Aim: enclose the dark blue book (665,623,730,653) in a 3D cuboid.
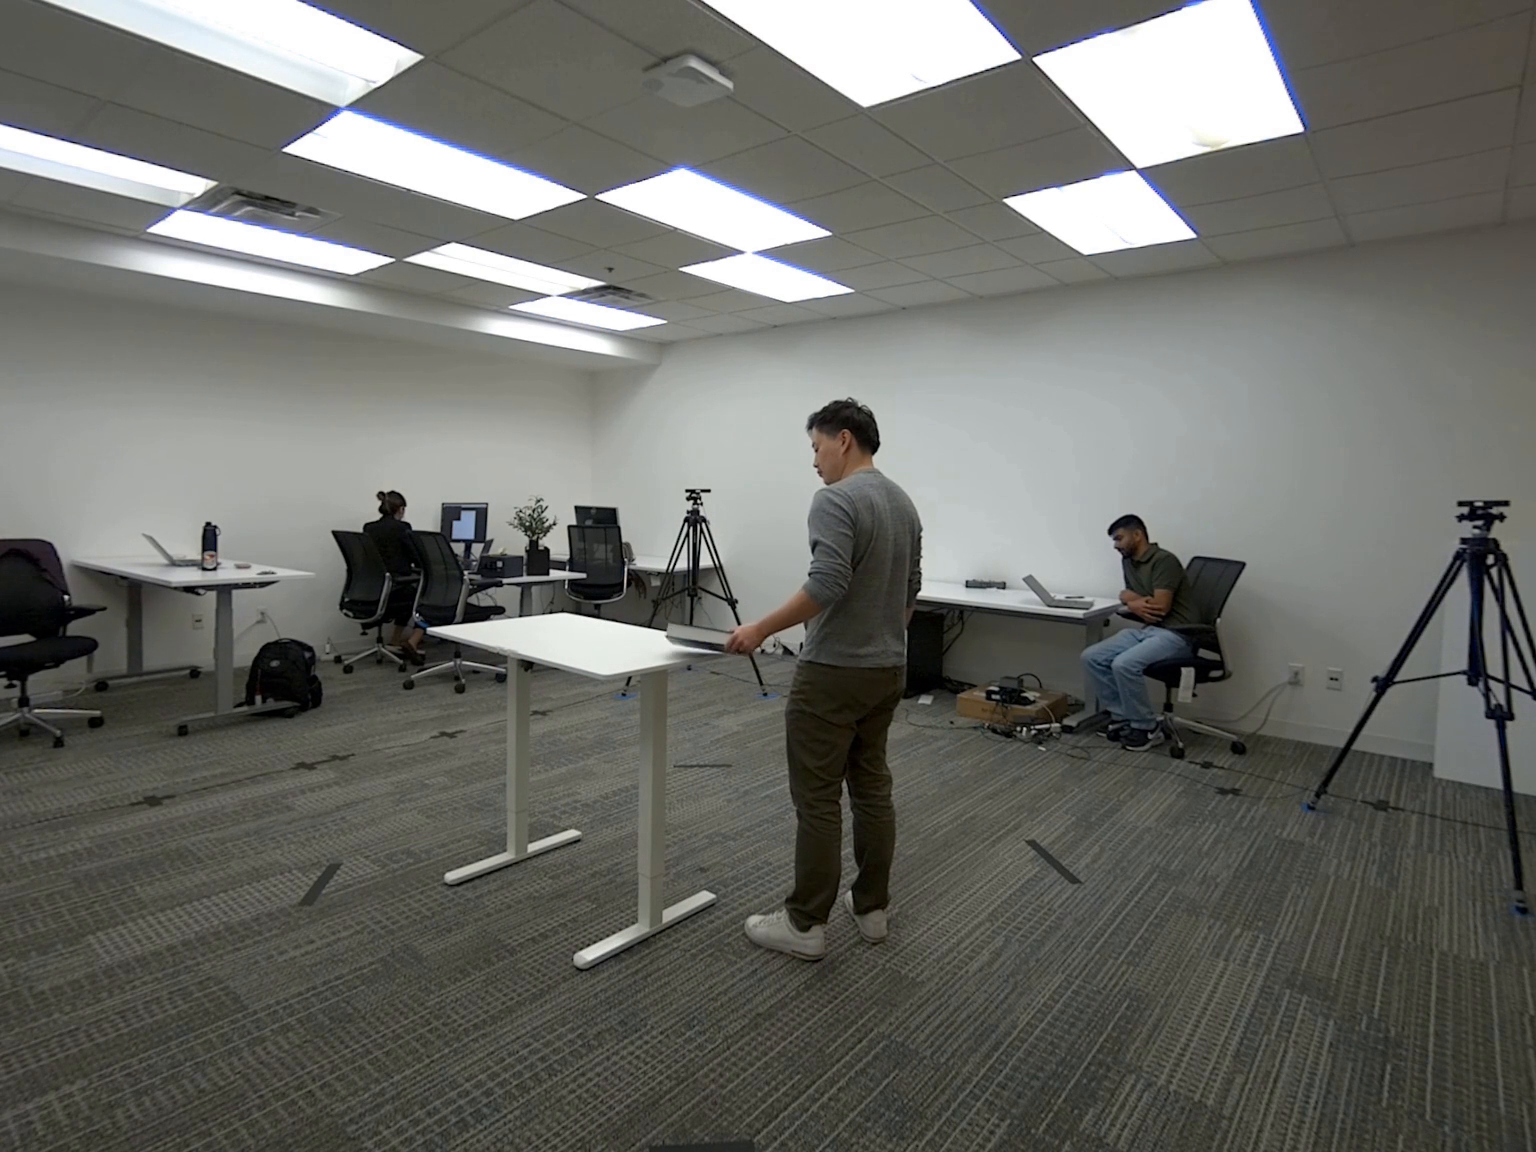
[{"bbox_3d":[-0.190,0.185,2.602,0.247,0.045,0.160,9,-12,7],"label":"dark blue book"}]
